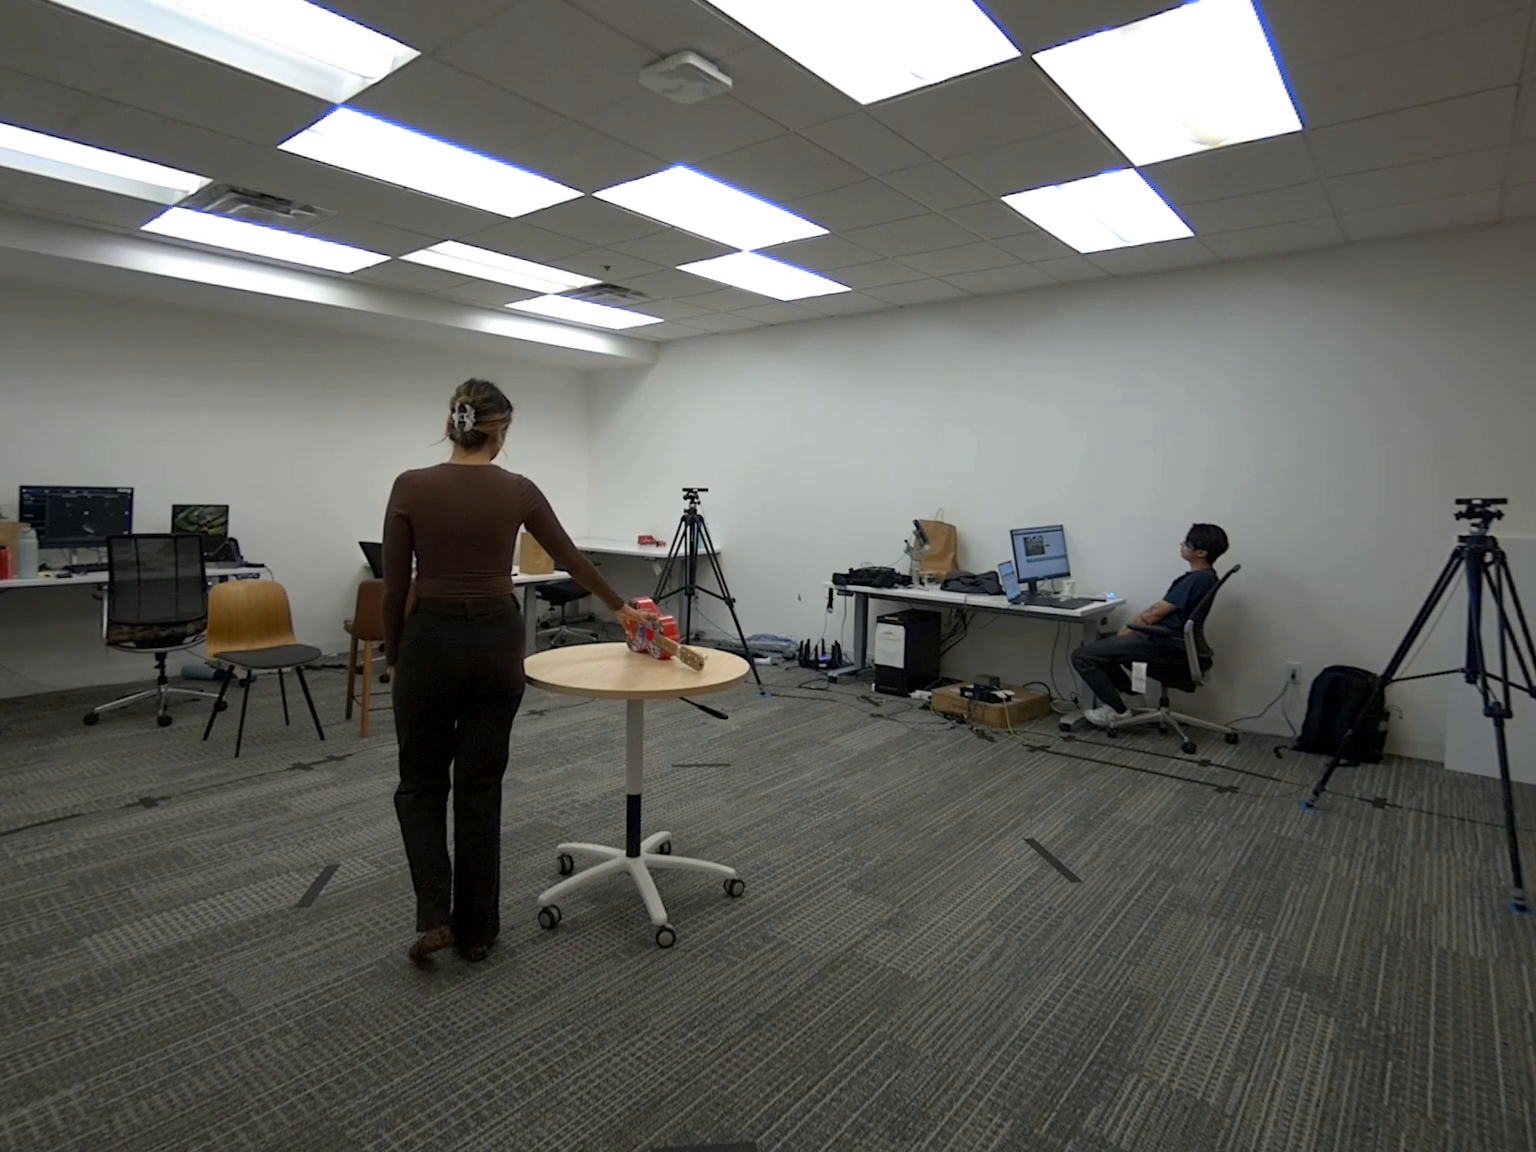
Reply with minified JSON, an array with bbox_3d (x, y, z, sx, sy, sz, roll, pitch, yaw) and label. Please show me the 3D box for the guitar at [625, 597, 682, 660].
[{"bbox_3d":[-0.365,0.247,2.931,0.069,0.190,0.519,-2,24,-36],"label":"guitar"}]
